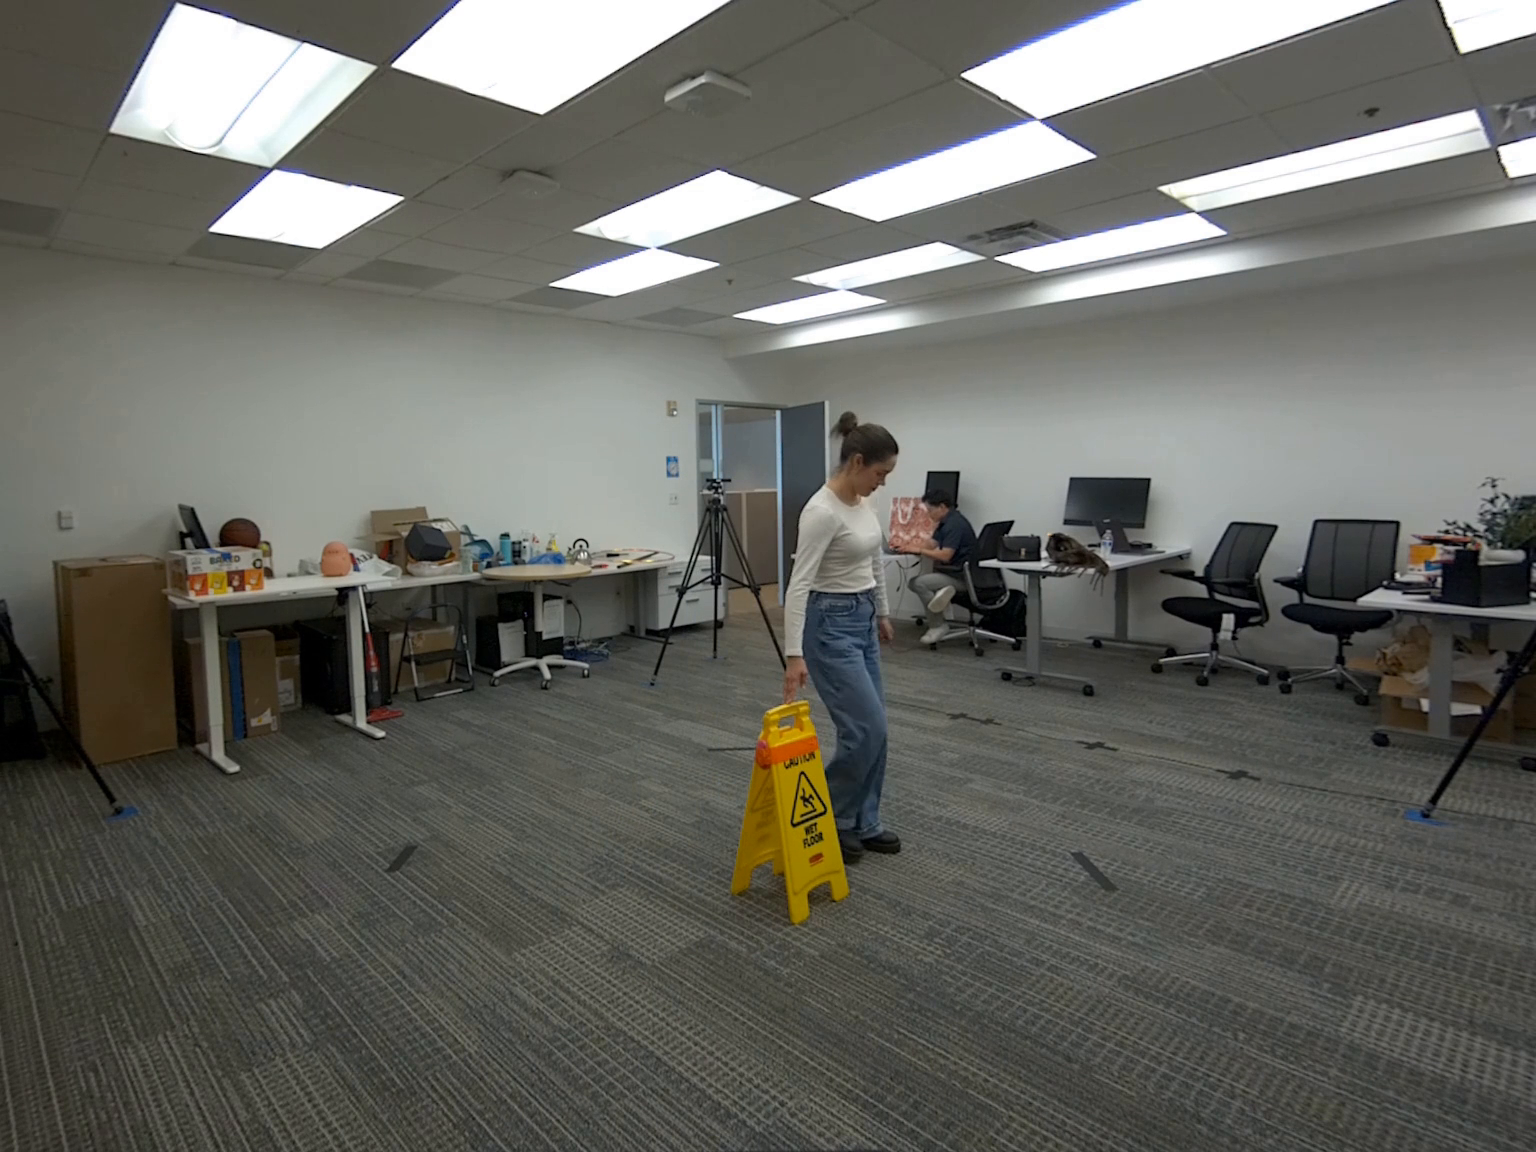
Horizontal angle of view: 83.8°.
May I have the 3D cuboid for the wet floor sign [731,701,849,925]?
[{"bbox_3d":[0.072,0.748,2.845,0.299,0.643,0.275,4,6,44],"label":"wet floor sign"}]
